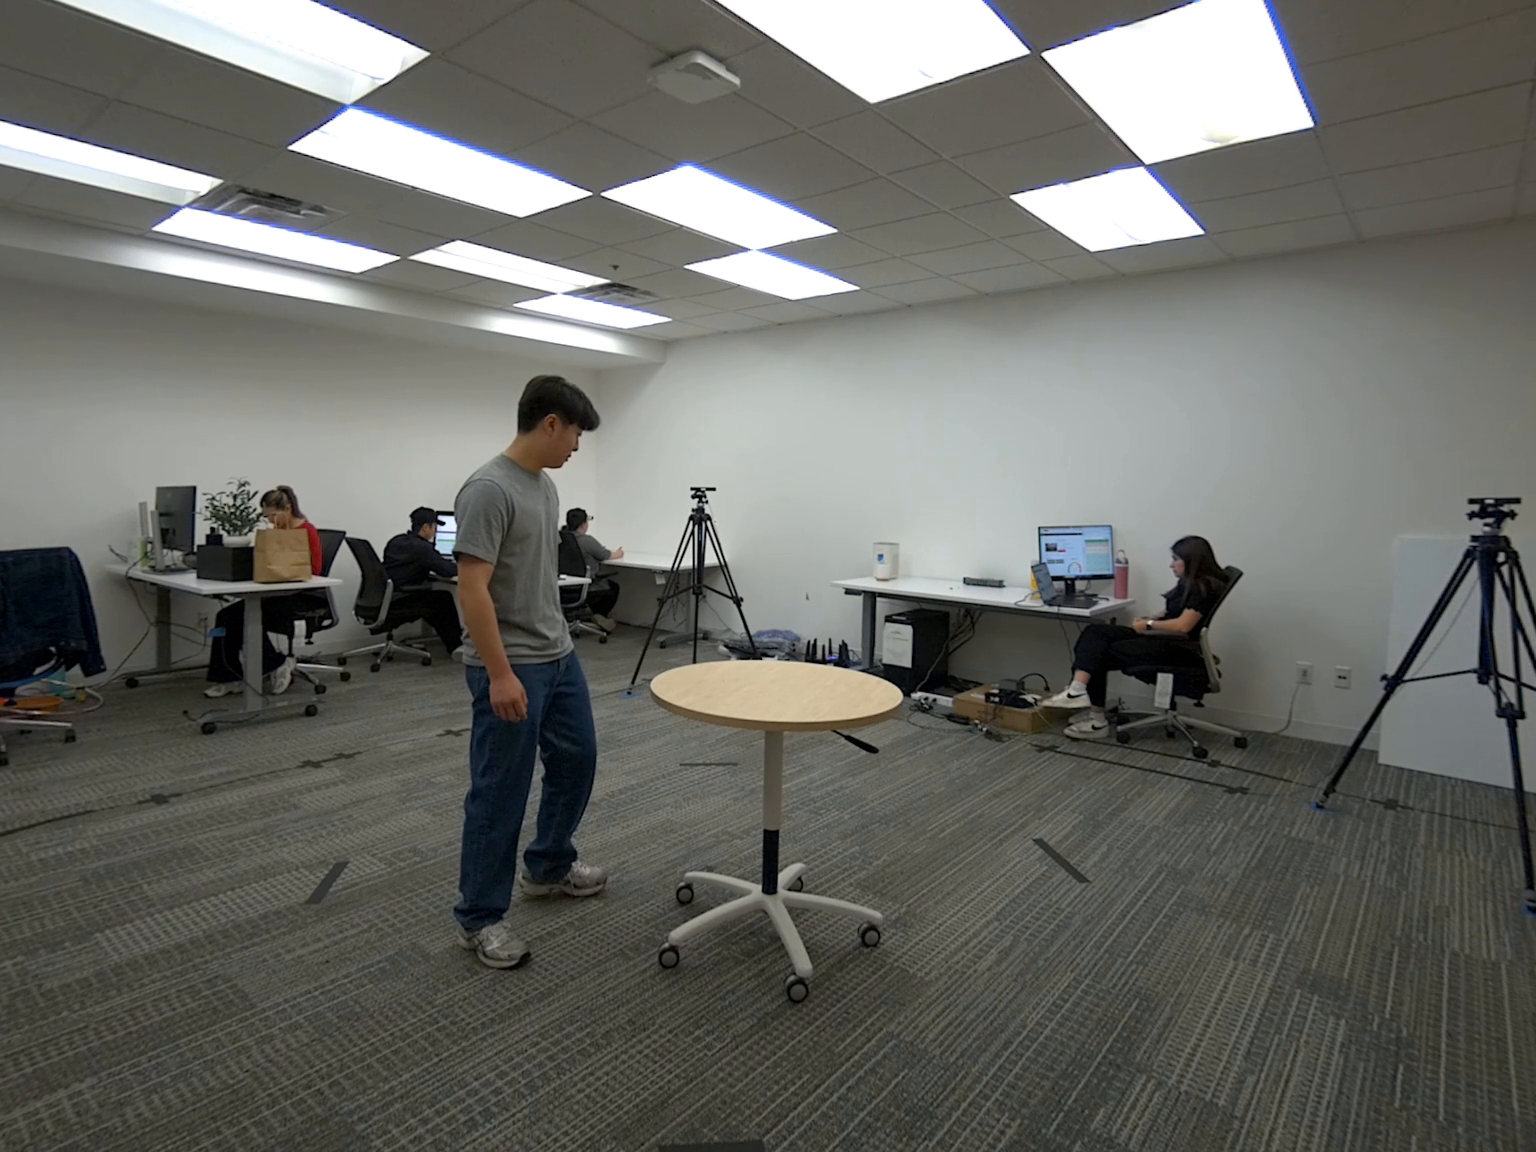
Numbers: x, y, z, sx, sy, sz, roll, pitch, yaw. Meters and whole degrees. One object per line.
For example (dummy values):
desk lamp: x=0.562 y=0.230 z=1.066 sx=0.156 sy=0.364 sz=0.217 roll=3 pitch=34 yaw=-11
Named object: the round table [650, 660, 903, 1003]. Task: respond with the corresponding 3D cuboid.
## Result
round table: x=-0.001 y=0.734 z=2.617 sx=0.763 sy=0.791 sz=0.768 roll=1 pitch=5 yaw=-2
